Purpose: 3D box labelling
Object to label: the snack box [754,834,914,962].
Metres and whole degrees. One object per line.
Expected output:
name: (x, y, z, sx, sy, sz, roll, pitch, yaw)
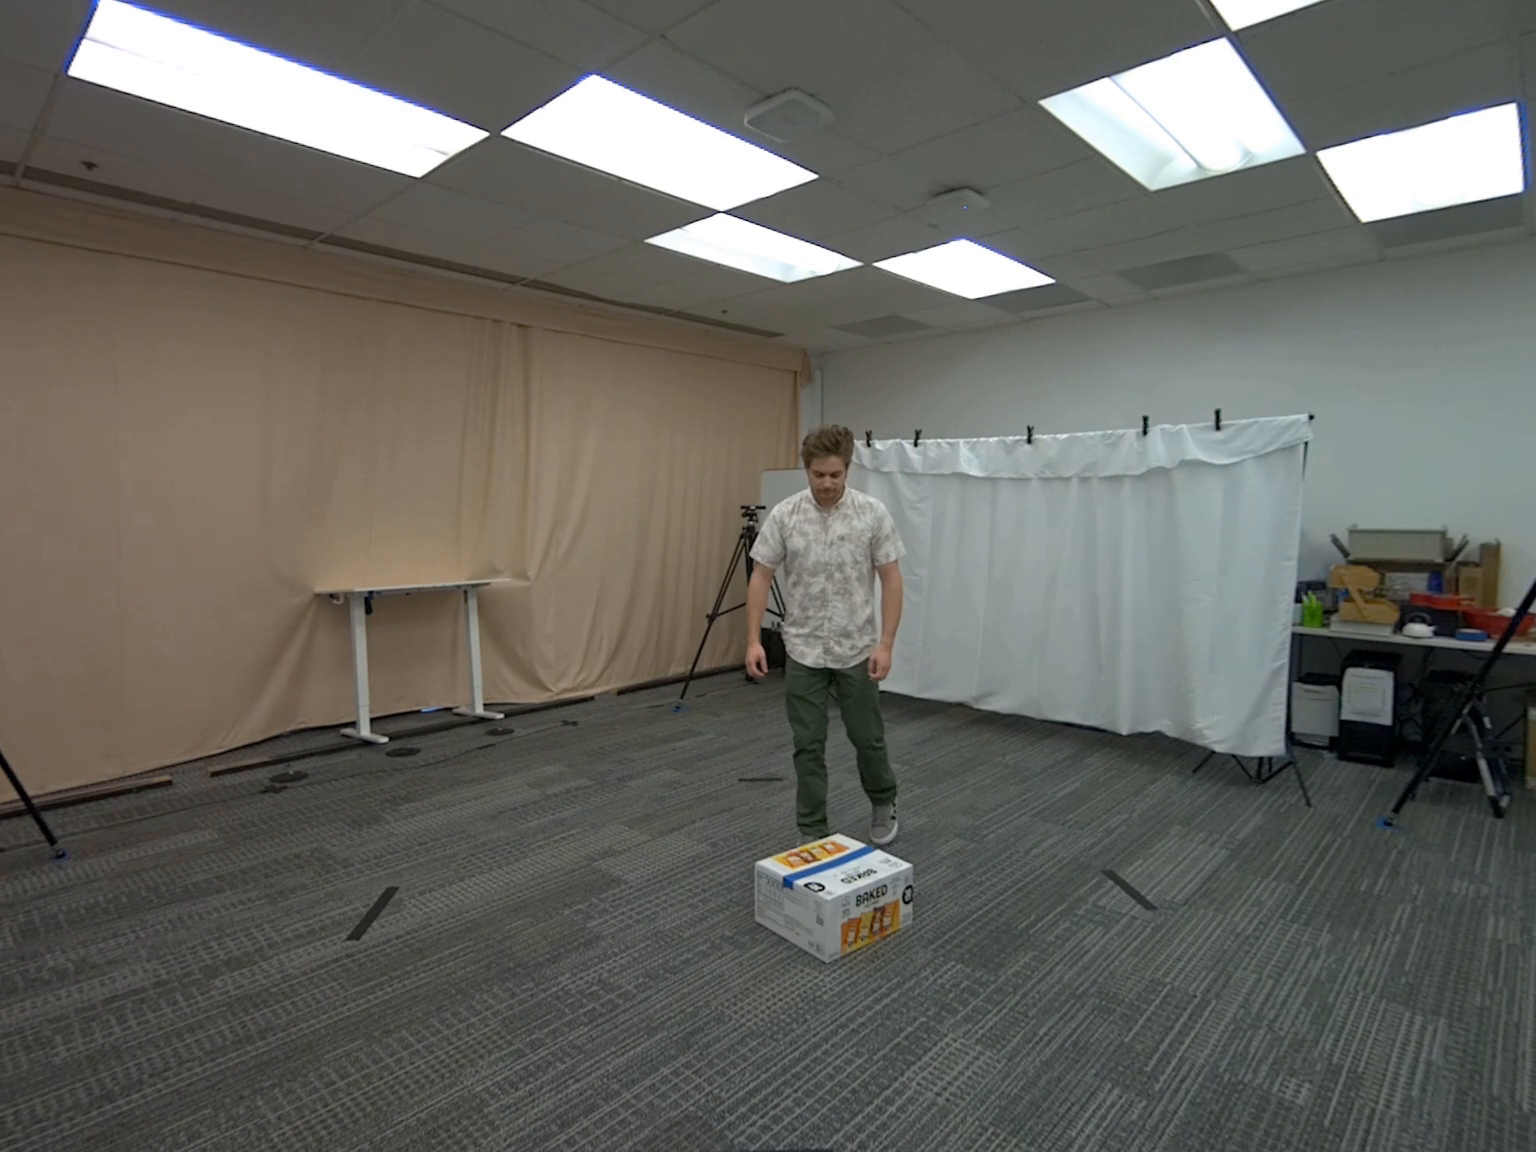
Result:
snack box: (0.221, 1.058, 2.798, 0.393, 0.205, 0.351, -4, 5, -39)
